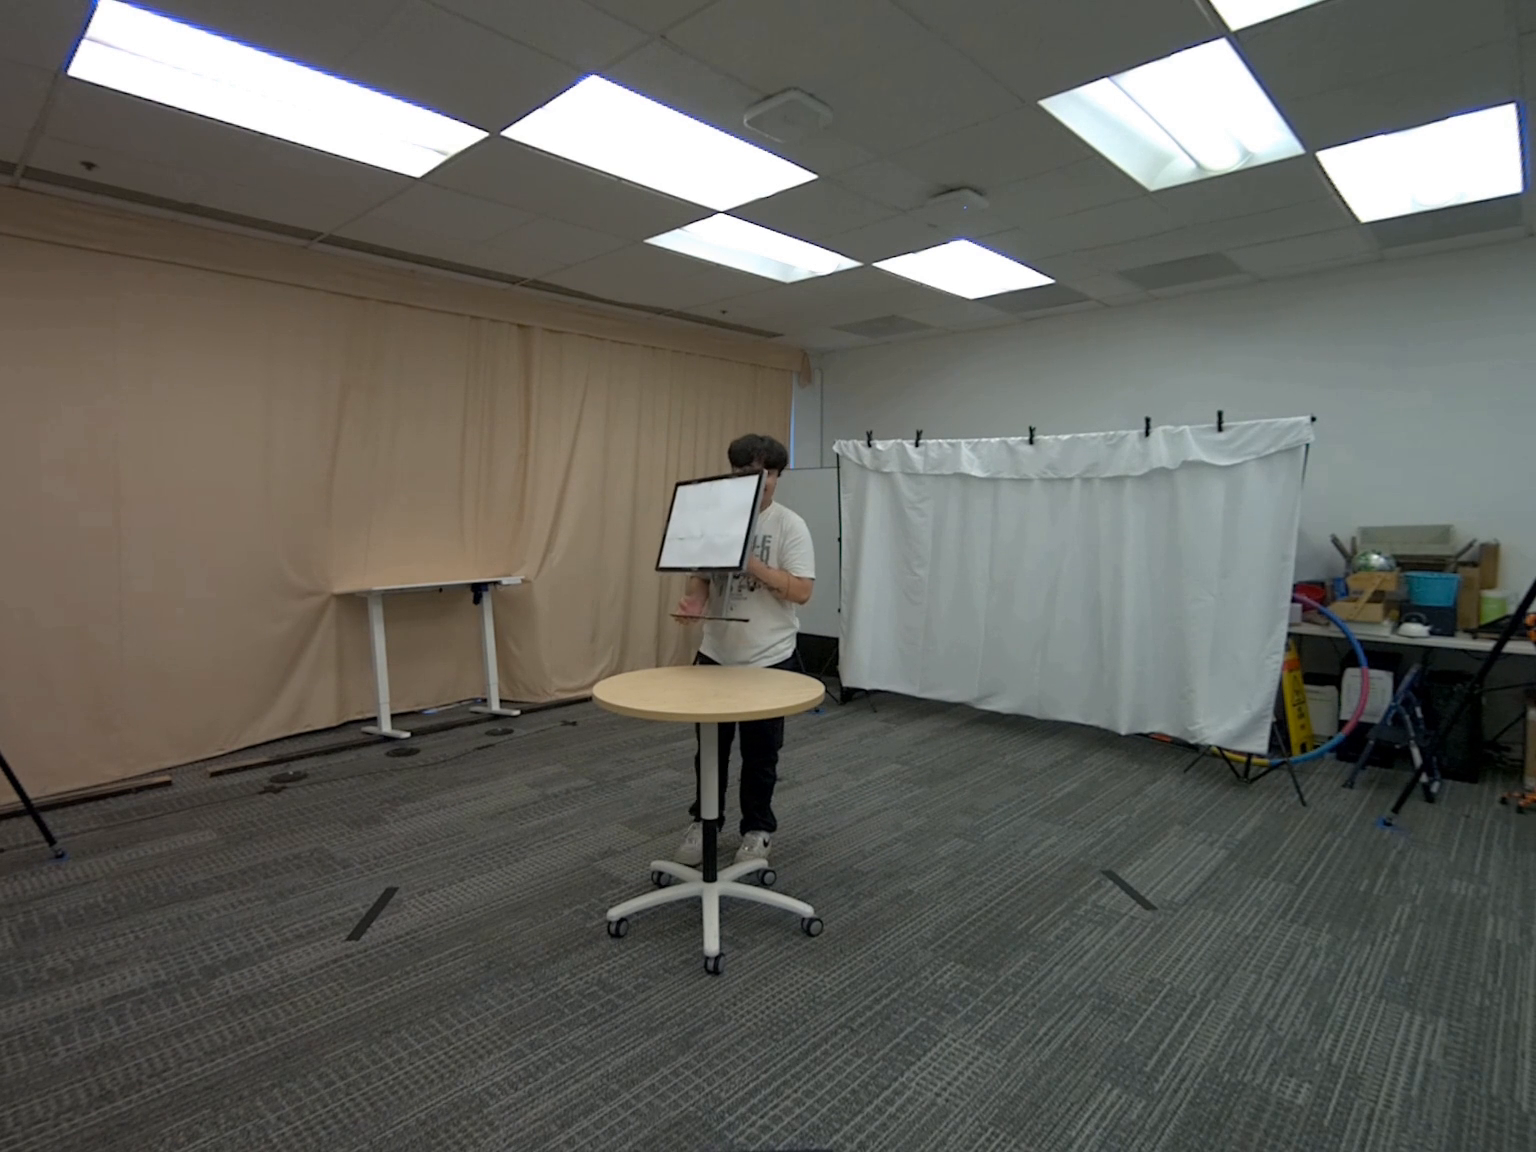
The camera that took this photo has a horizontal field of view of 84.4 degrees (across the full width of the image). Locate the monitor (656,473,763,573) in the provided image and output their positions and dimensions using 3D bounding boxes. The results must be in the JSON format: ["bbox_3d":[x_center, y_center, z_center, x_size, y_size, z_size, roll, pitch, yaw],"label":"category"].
[{"bbox_3d":[-0.173,-0.088,3.106,0.203,0.556,0.582,13,-9,-36],"label":"monitor"}]
